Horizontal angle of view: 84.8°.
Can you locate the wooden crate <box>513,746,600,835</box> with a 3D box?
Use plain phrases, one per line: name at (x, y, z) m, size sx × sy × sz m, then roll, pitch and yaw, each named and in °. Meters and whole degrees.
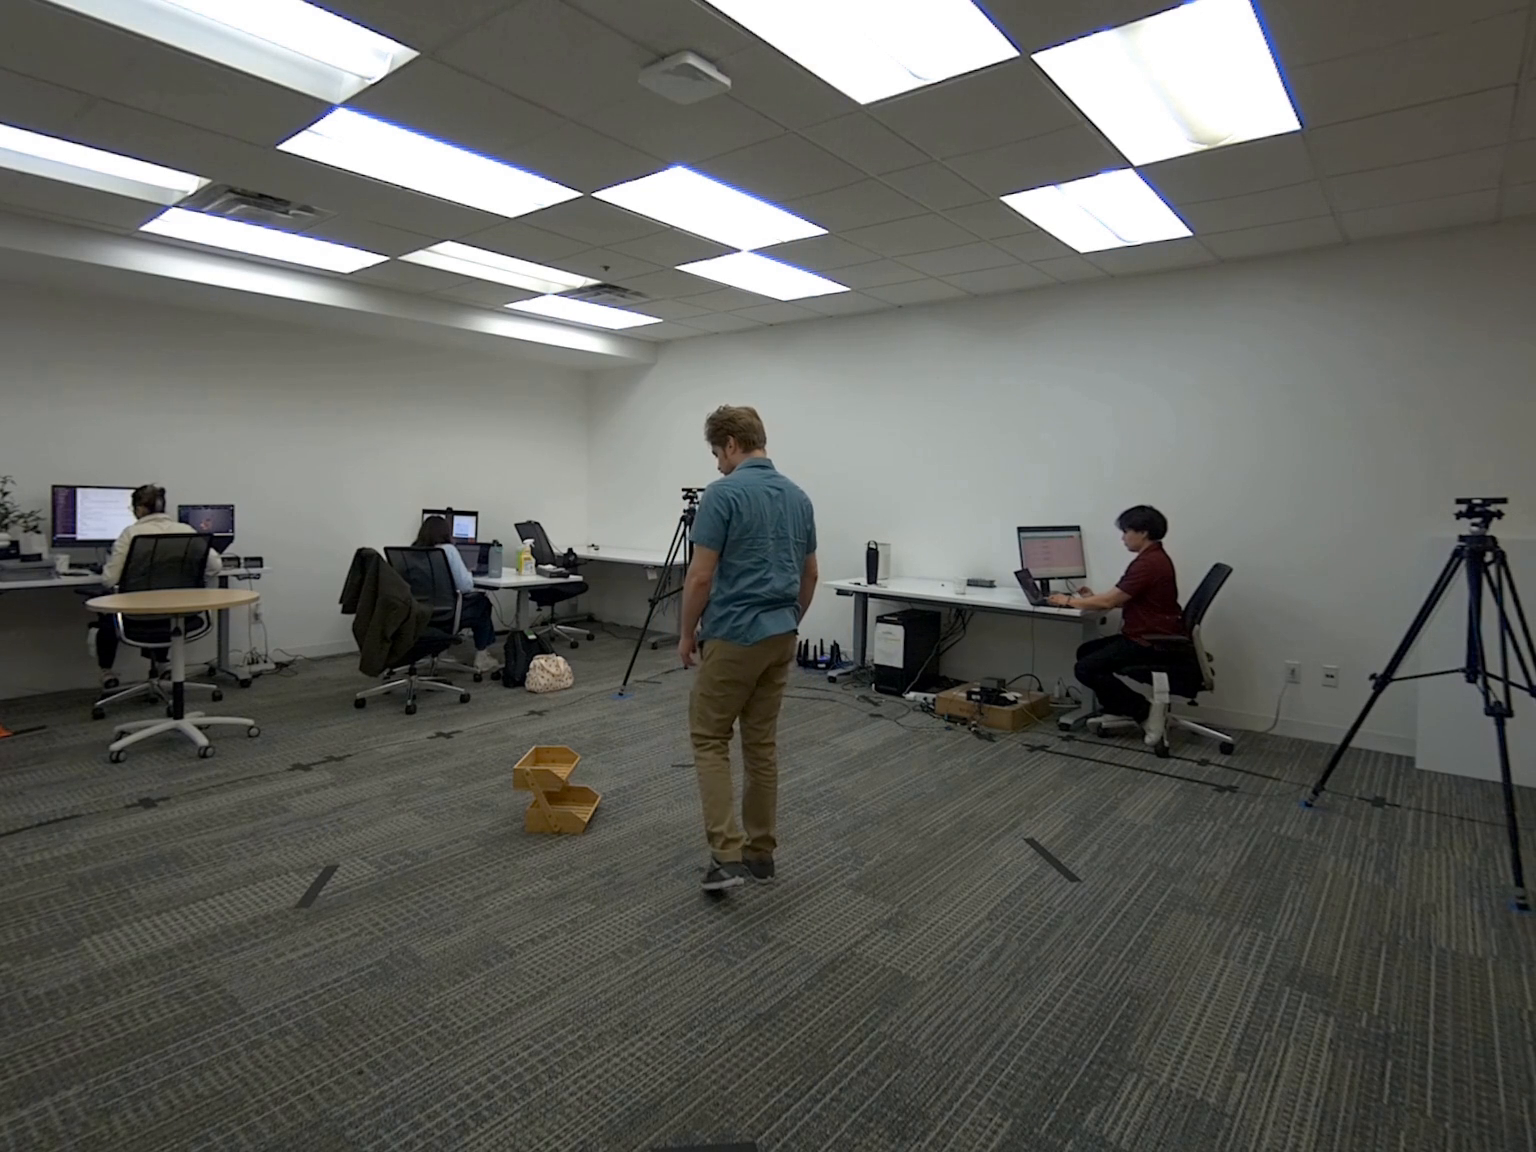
wooden crate at (-0.884, 0.879, 3.565) m, size 0.303 × 0.272 × 0.325 m, roll 1°, pitch 4°, yaw 2°
